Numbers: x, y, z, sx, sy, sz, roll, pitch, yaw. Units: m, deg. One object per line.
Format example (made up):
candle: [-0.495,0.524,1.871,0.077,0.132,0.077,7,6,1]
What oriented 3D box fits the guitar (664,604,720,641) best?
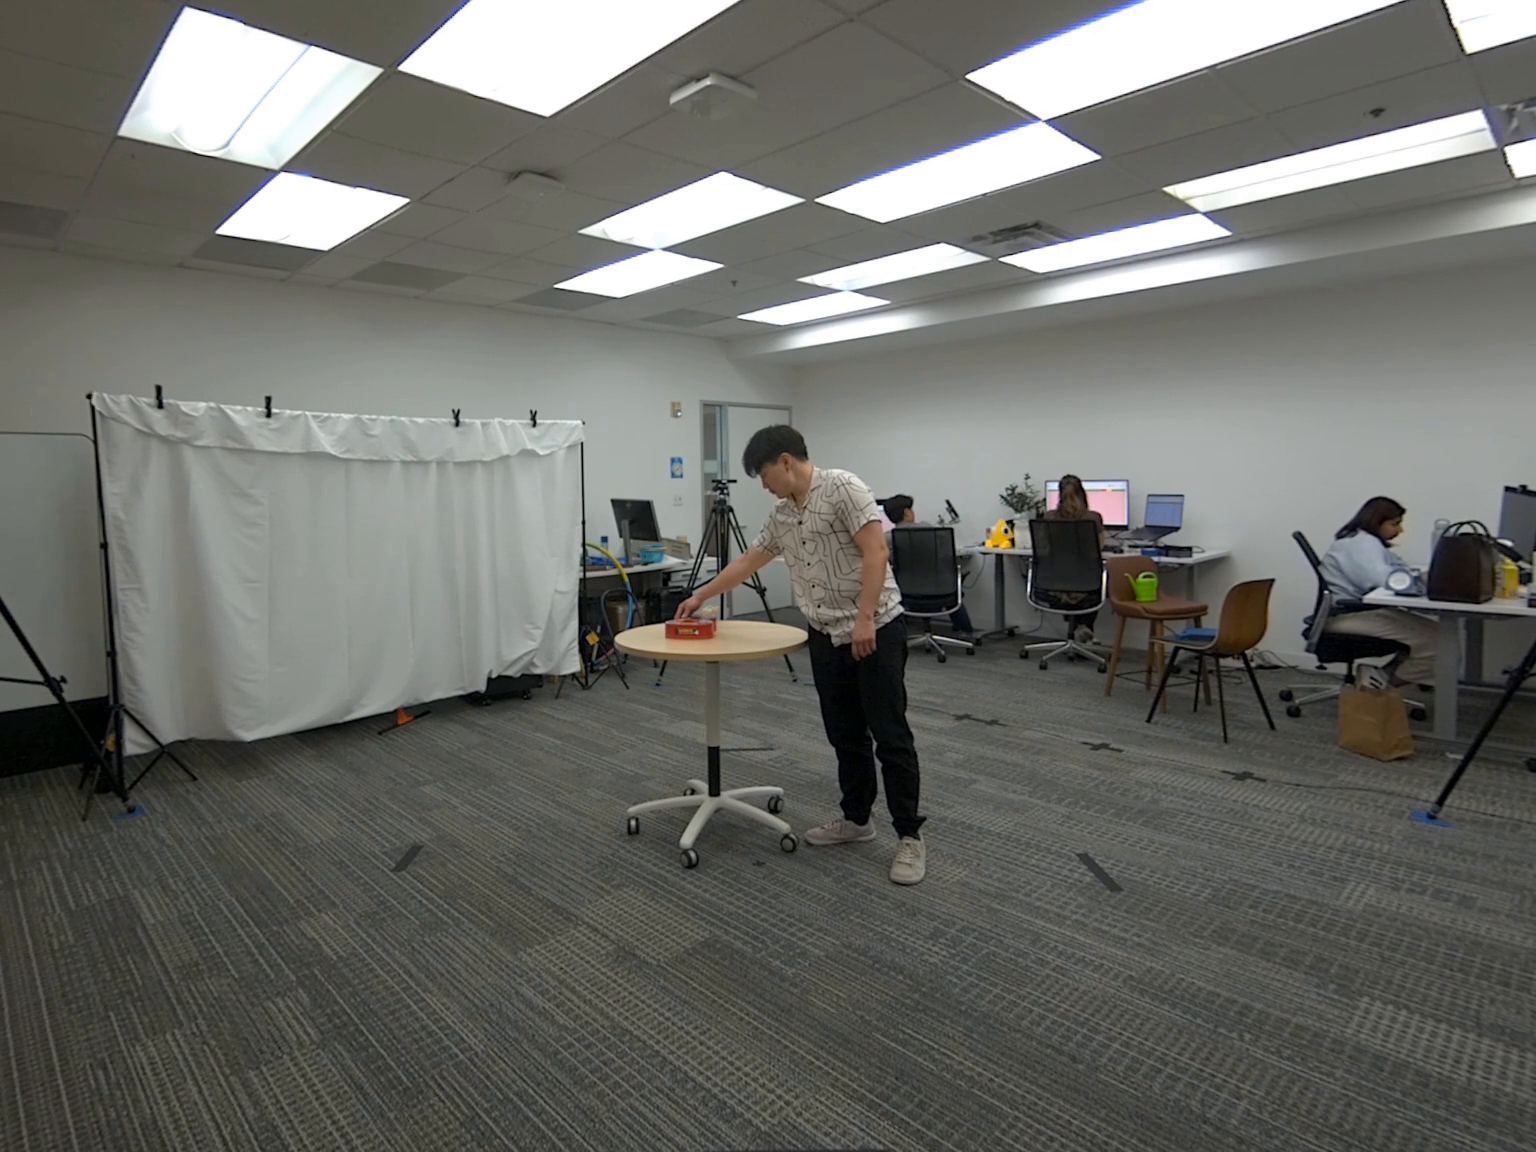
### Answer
guitar: [-0.247,0.190,3.533,0.197,0.070,0.490,-1,6,20]
